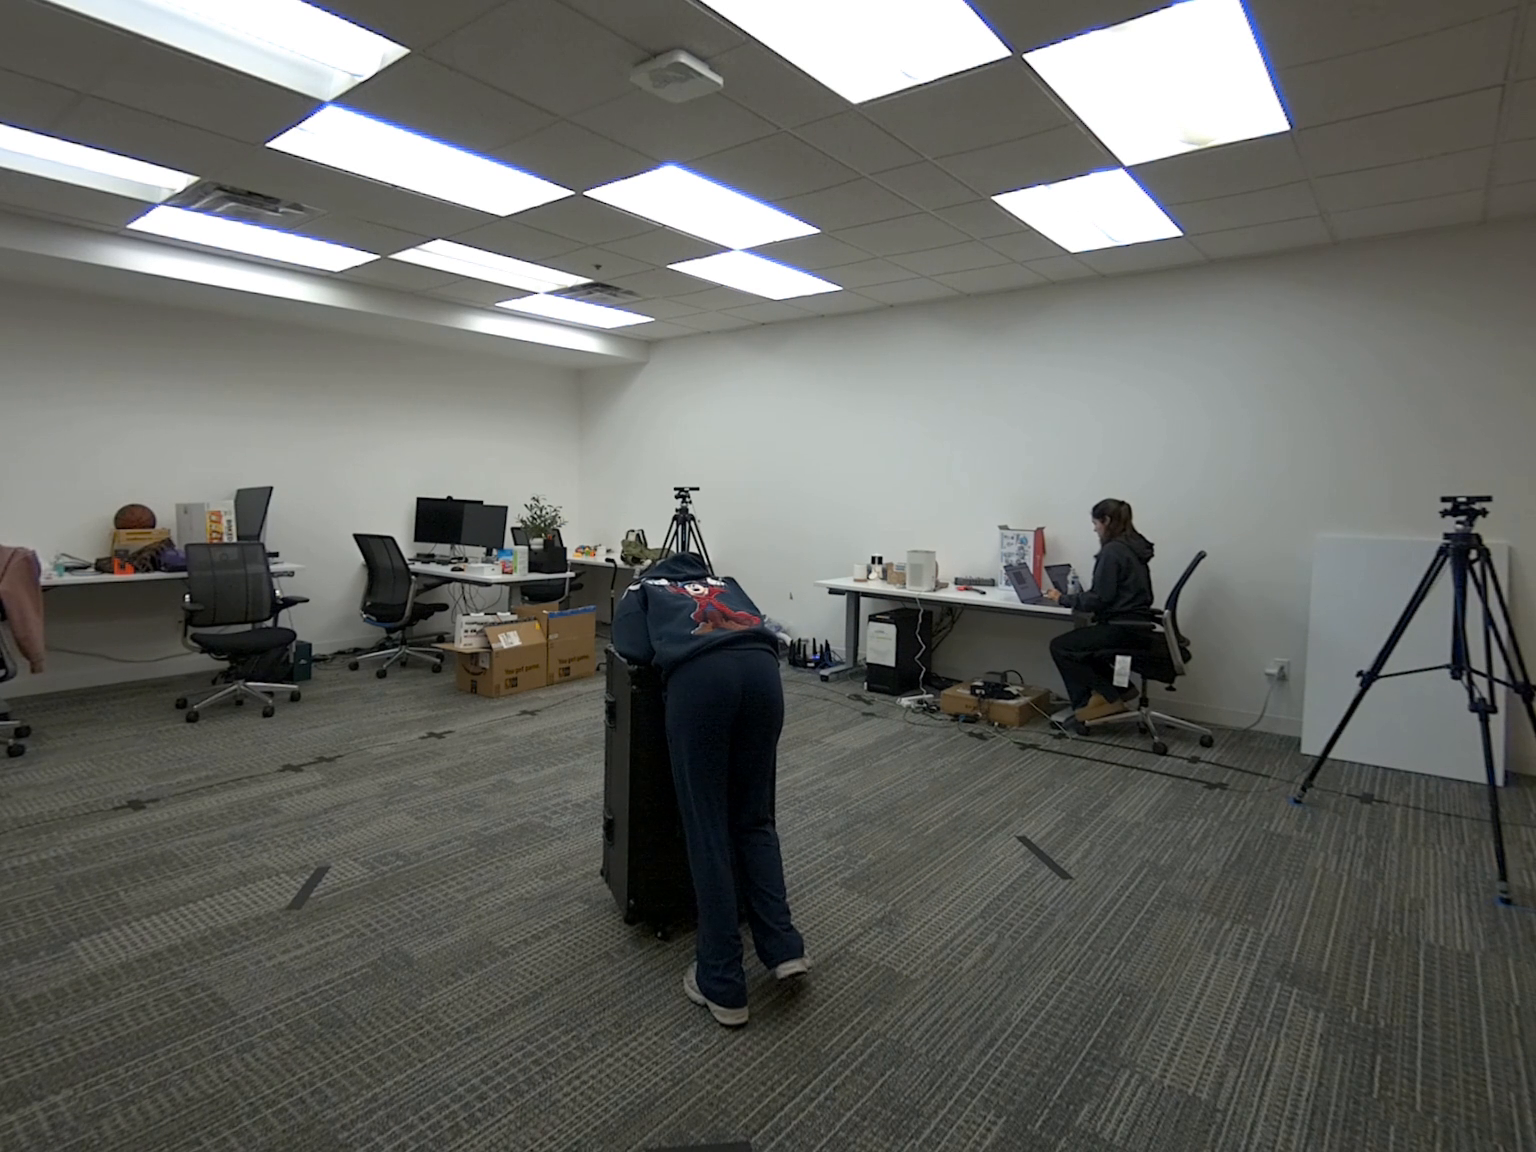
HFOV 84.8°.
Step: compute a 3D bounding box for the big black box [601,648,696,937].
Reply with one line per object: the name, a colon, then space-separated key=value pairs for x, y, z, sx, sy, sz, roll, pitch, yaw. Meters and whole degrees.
big black box: x=-0.265 y=0.678 z=2.777 sx=0.510 sy=0.859 sz=0.406 roll=1 pitch=4 yaw=-22
